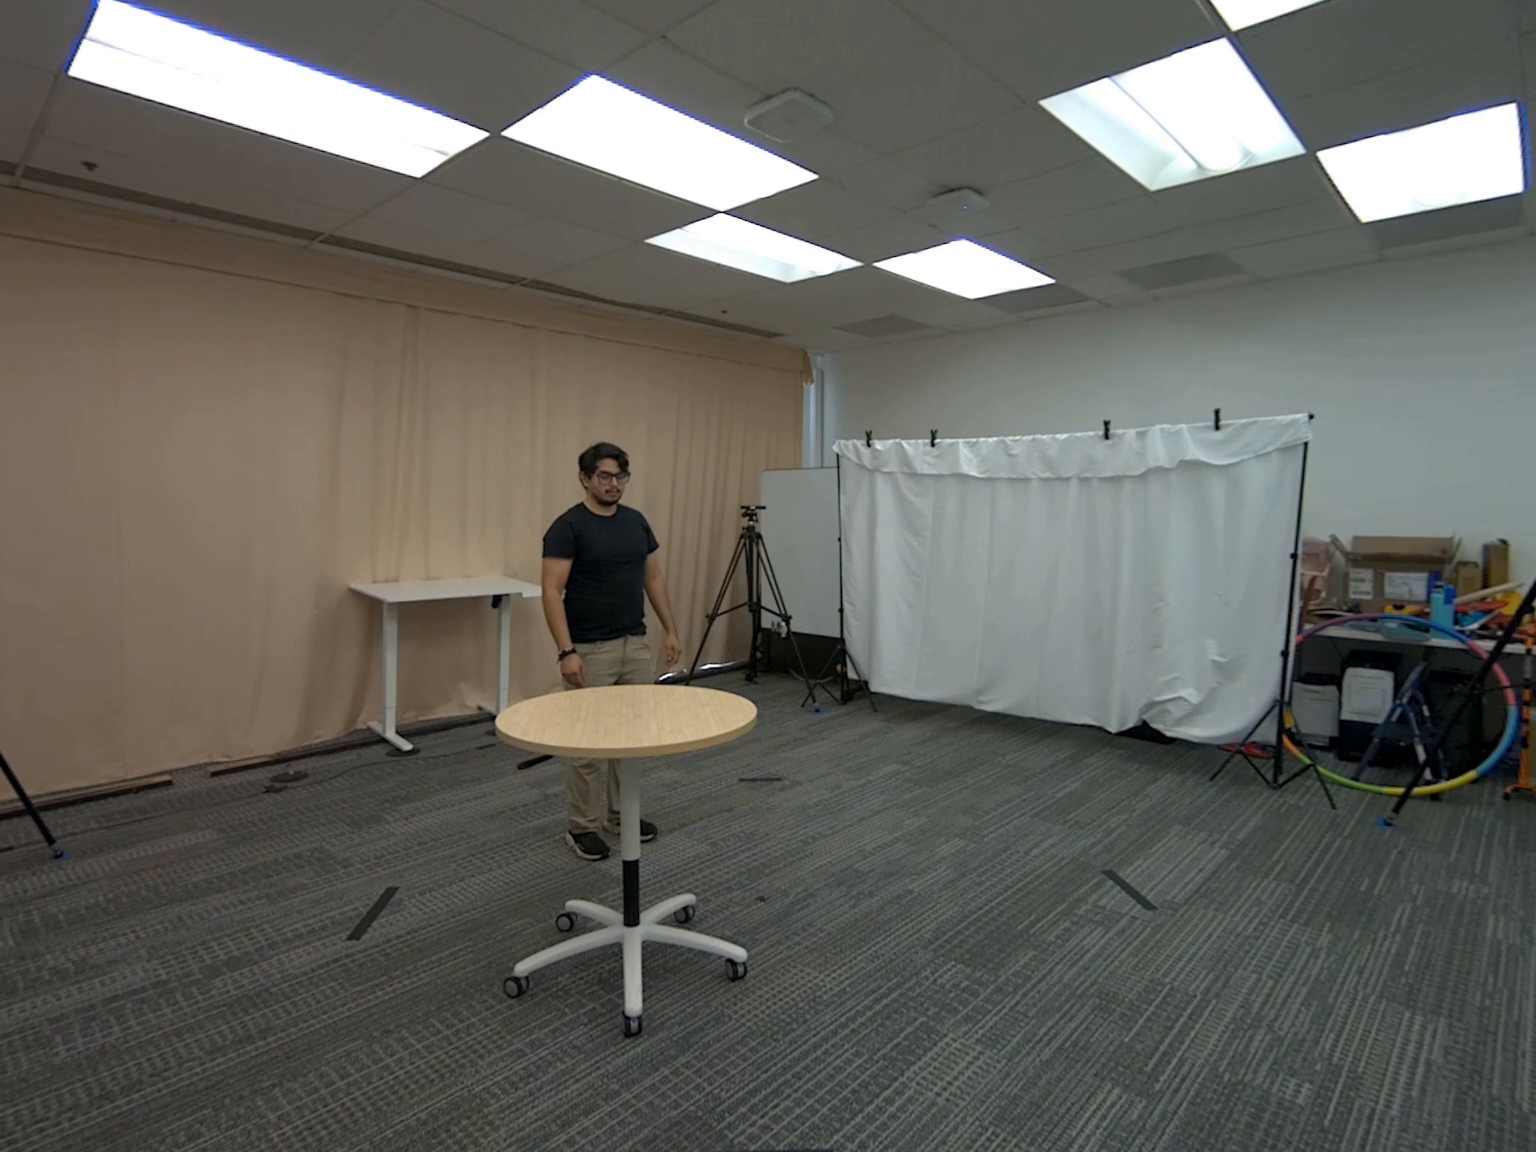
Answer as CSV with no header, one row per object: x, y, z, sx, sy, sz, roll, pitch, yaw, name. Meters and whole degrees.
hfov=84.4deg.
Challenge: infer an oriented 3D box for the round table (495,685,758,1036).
-0.397,0.793,2.511,0.784,0.785,0.788,-1,4,-2,round table
